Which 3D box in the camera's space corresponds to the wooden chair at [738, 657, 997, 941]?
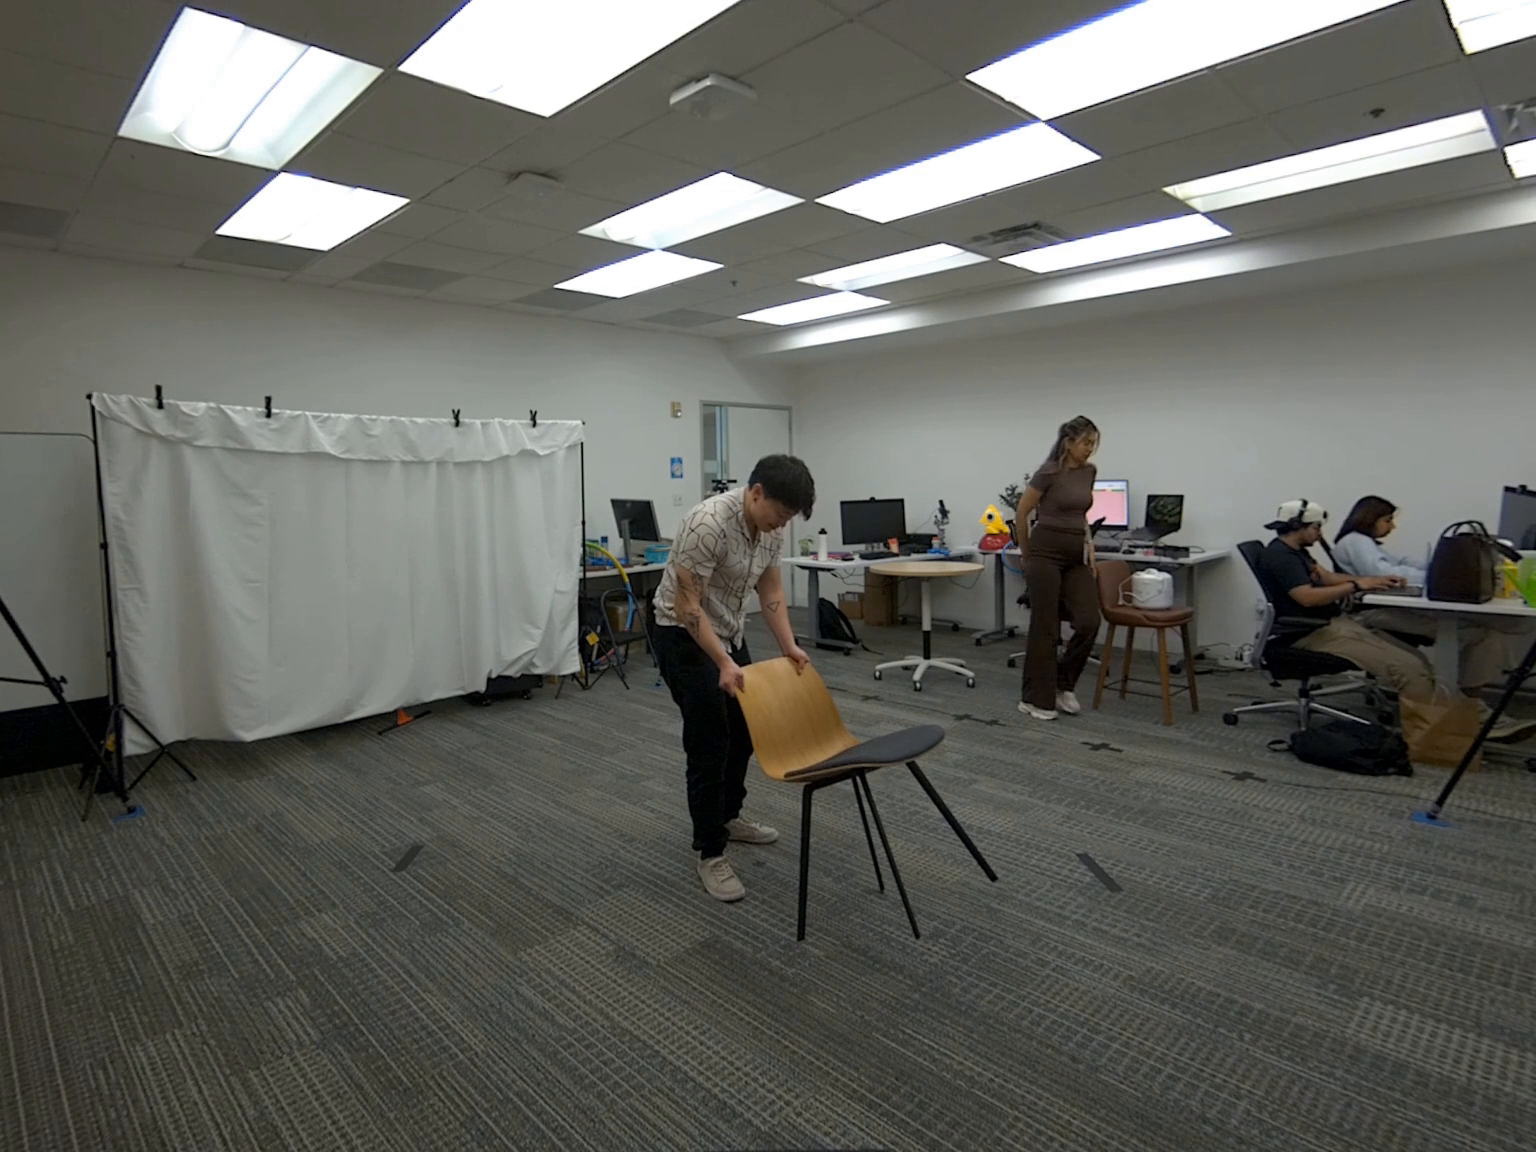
[{"bbox_3d":[0.276,0.609,2.664,0.465,0.892,0.528,-5,-20,-46],"label":"wooden chair"}]
